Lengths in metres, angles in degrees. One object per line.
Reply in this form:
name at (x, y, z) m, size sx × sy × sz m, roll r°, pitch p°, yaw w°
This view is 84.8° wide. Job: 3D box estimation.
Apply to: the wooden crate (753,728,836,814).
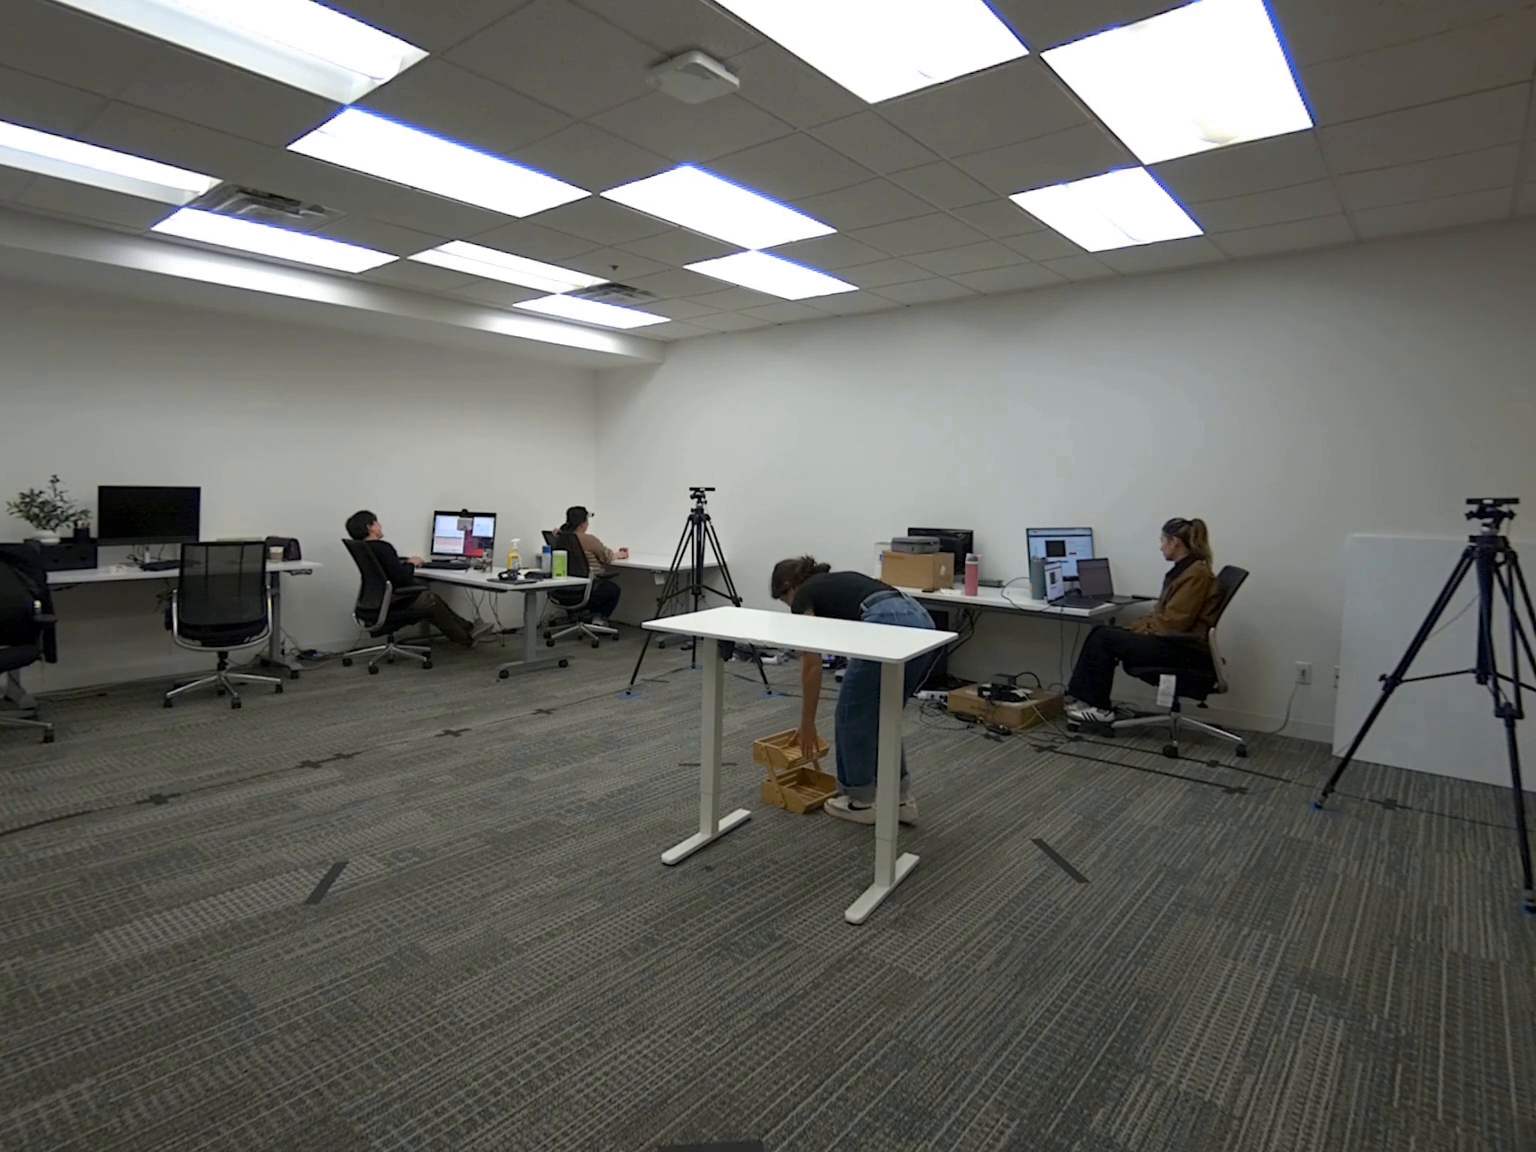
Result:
wooden crate at (0.135, 0.868, 3.841) m, size 0.312 × 0.272 × 0.315 m, roll 4°, pitch 5°, yaw 41°
